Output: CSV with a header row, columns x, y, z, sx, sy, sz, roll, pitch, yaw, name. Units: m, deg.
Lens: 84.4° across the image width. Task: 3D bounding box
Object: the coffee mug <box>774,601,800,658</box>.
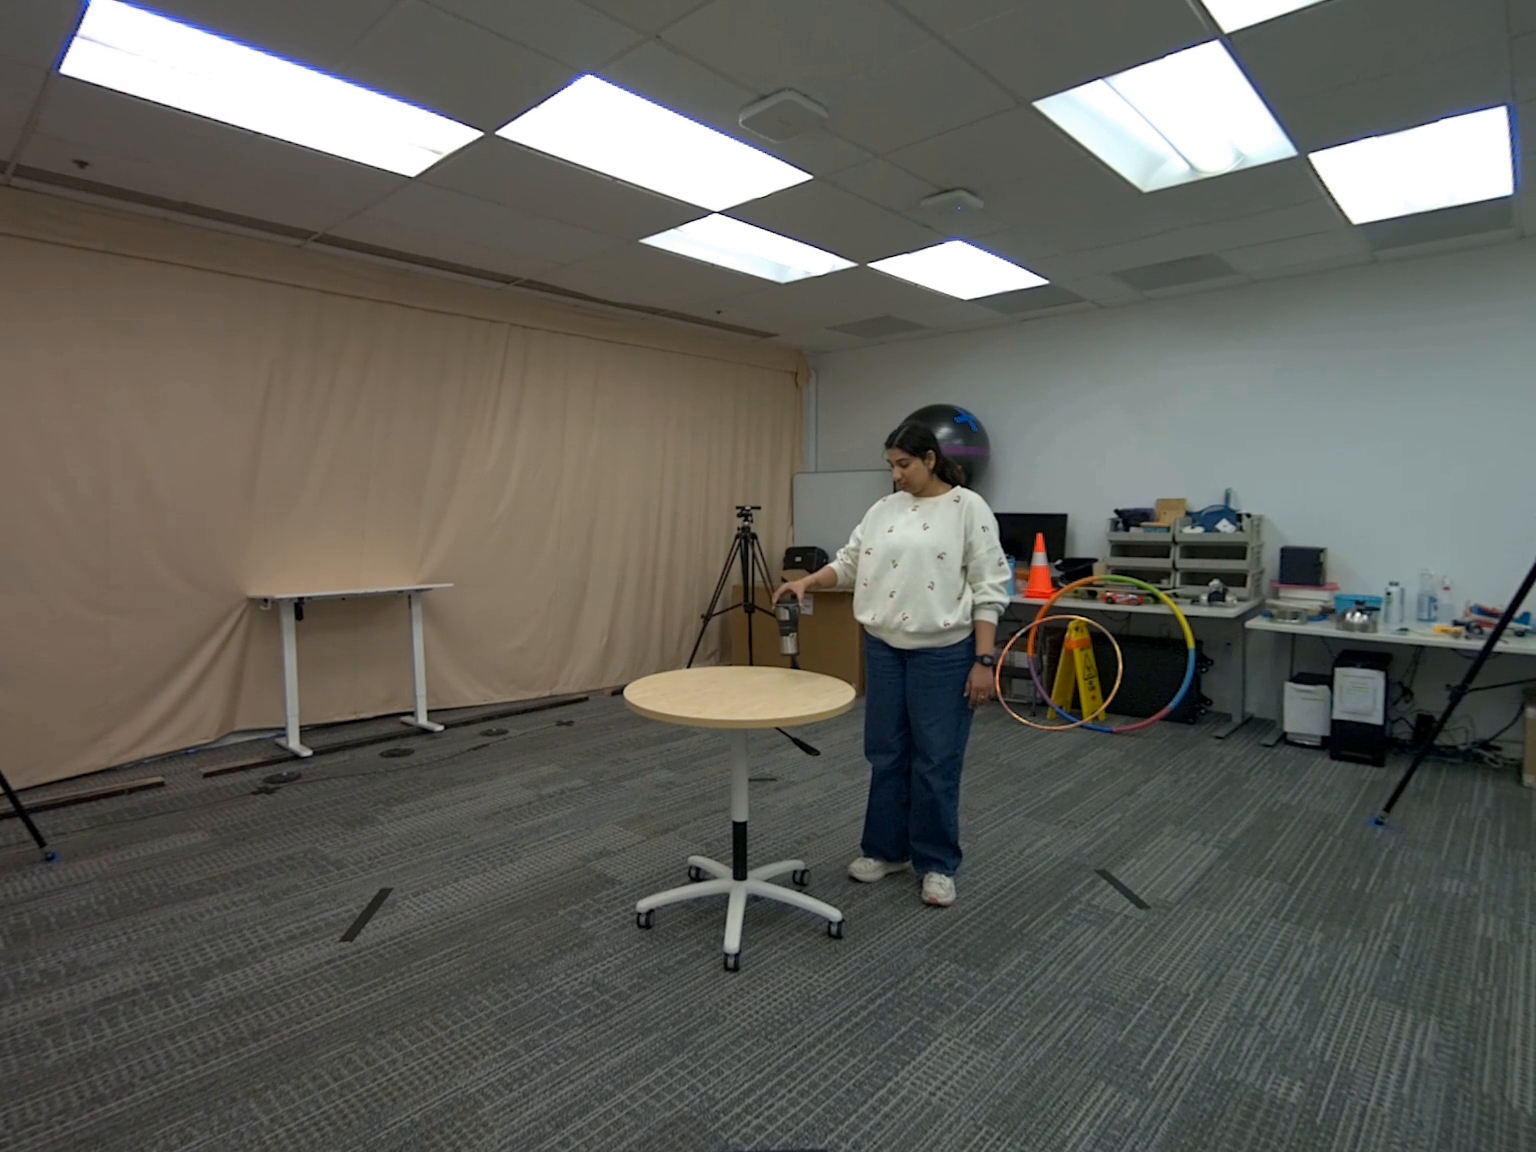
x,y,z,sx,sy,sz,roll,pitch,yaw,name
0.062,0.191,3.019,0.091,0.203,0.118,0,1,45,coffee mug
